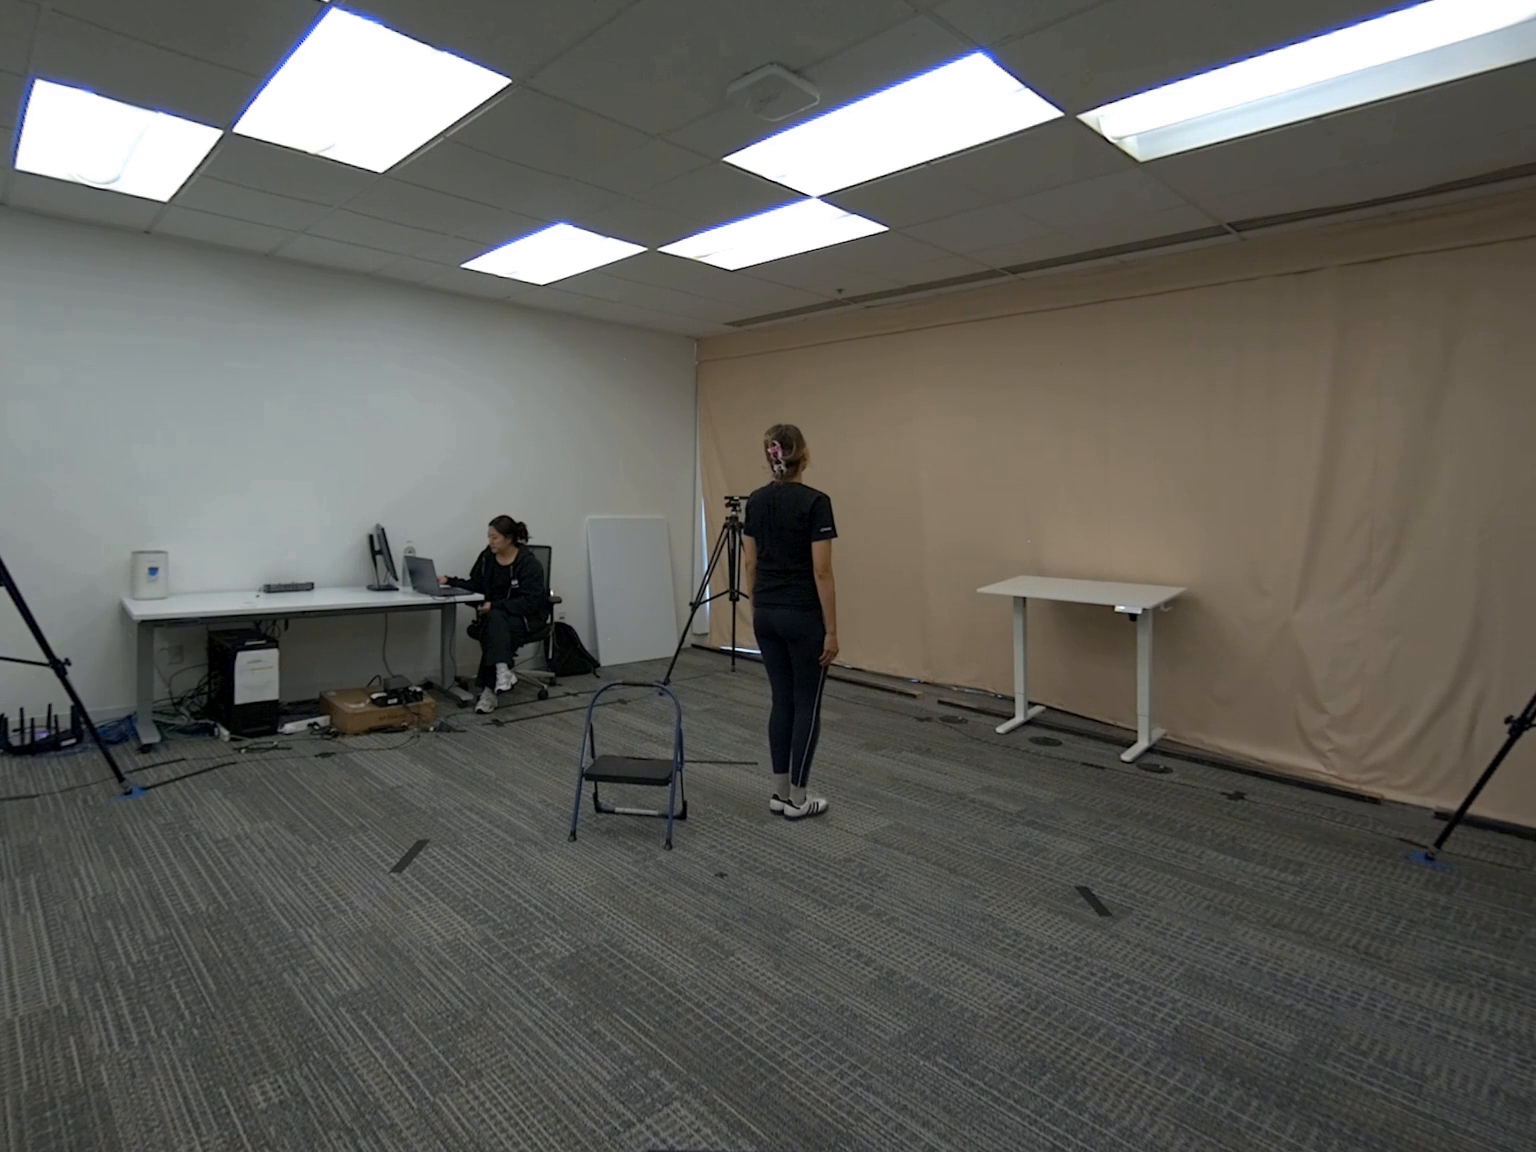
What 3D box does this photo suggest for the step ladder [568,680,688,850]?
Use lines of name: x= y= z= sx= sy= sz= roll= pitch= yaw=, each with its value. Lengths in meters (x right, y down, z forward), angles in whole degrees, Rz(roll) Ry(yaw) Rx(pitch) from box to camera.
step ladder: x=-0.573 y=0.759 z=3.498 sx=0.433 sy=0.604 sz=0.348 roll=2 pitch=4 yaw=7
